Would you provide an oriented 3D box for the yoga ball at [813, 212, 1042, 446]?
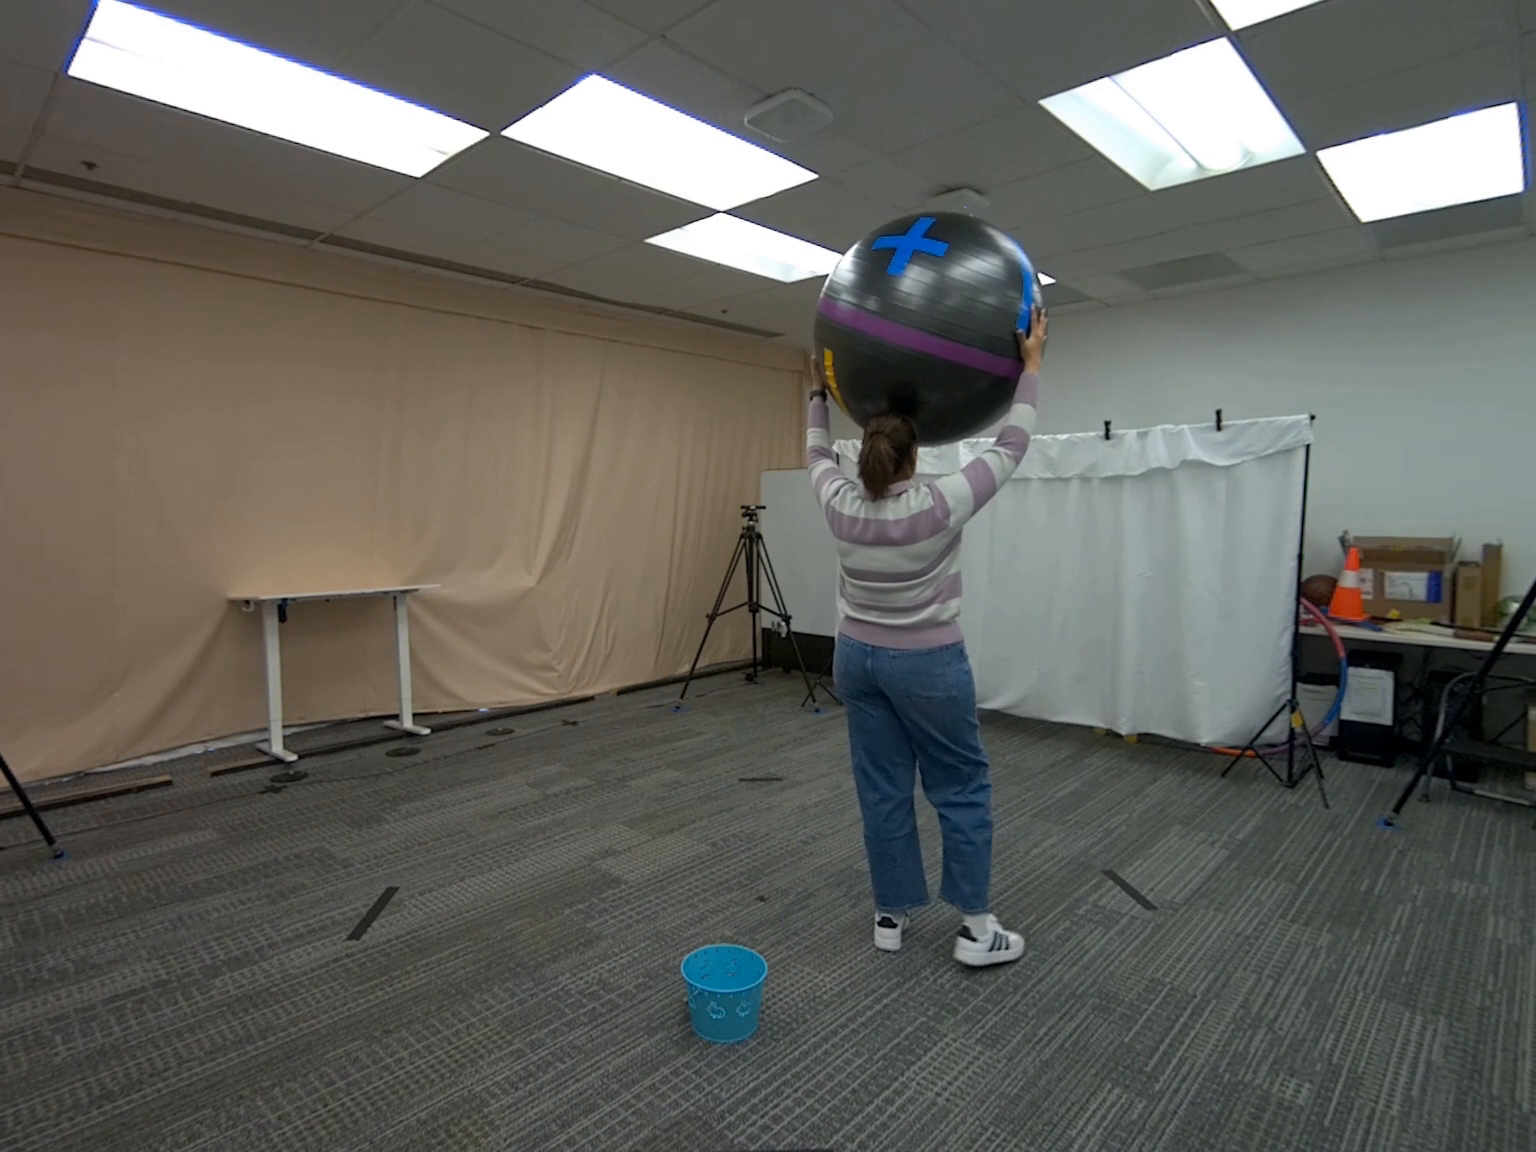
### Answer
[{"bbox_3d":[0.544,-0.810,2.825,0.757,0.756,0.761,0,4,-2],"label":"yoga ball"}]
